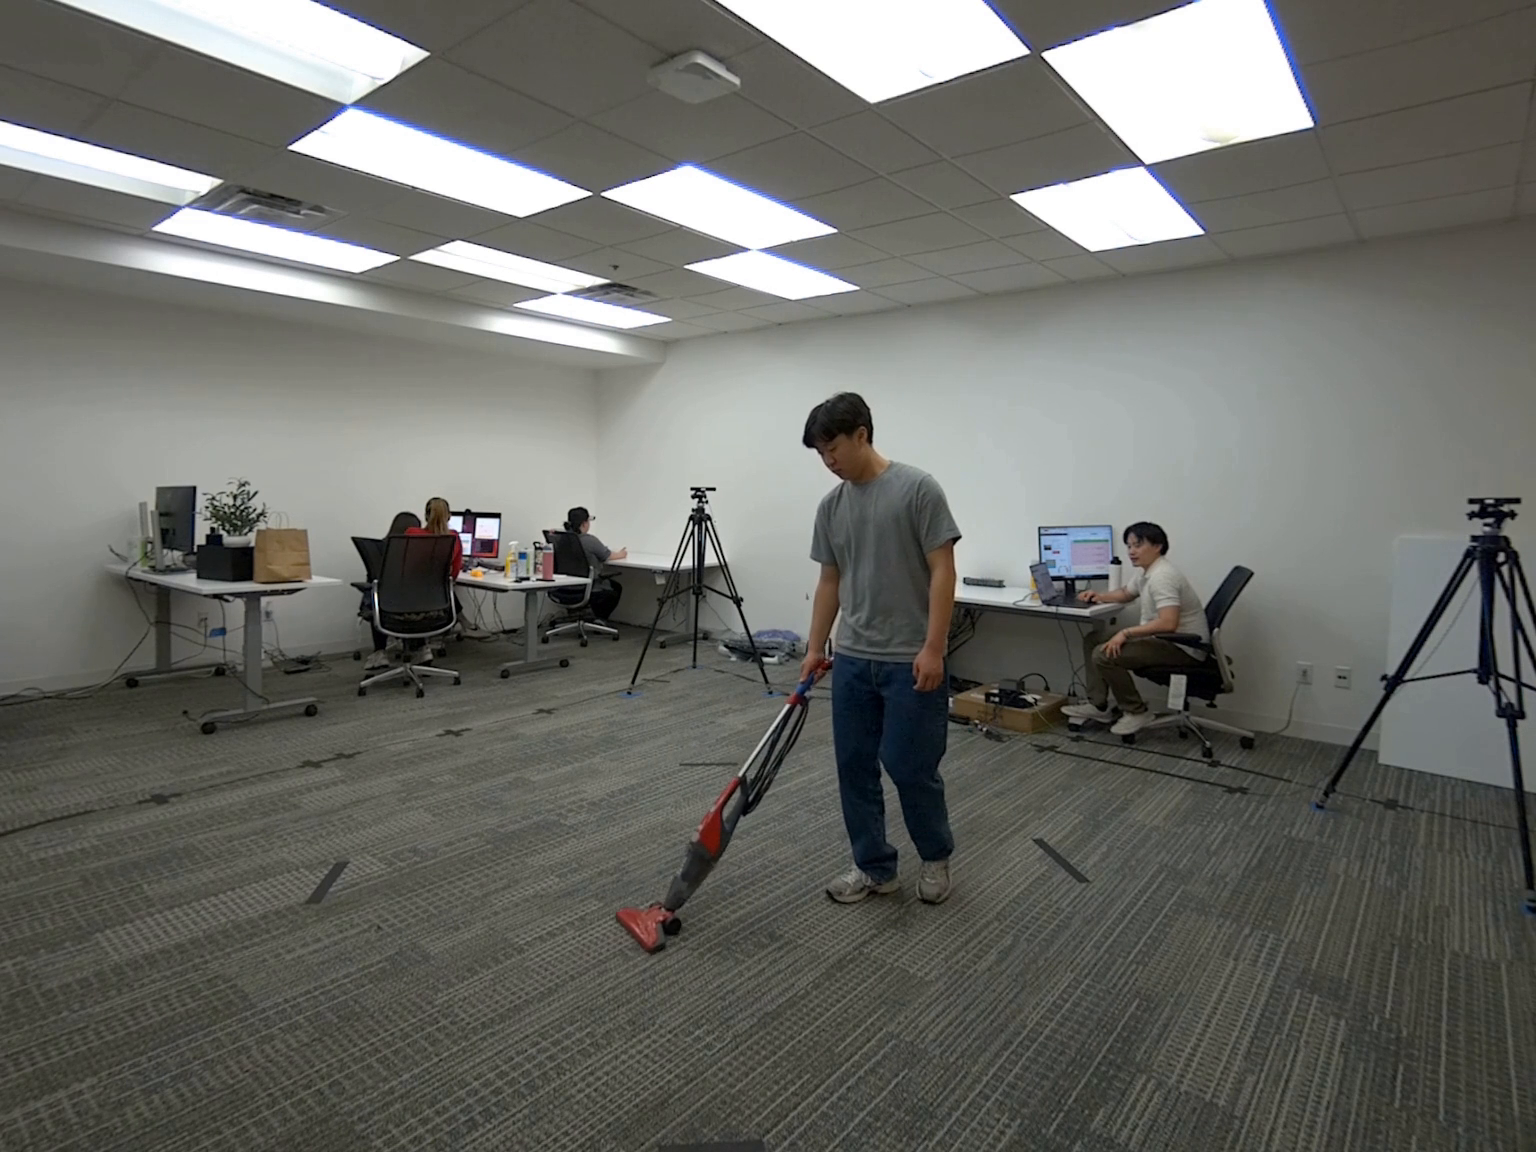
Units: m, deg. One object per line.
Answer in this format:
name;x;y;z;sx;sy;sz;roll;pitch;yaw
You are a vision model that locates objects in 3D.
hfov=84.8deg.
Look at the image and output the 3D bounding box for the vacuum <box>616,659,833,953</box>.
vacuum;-0.084;0.706;2.825;0.261;1.051;0.139;12;-31;53
